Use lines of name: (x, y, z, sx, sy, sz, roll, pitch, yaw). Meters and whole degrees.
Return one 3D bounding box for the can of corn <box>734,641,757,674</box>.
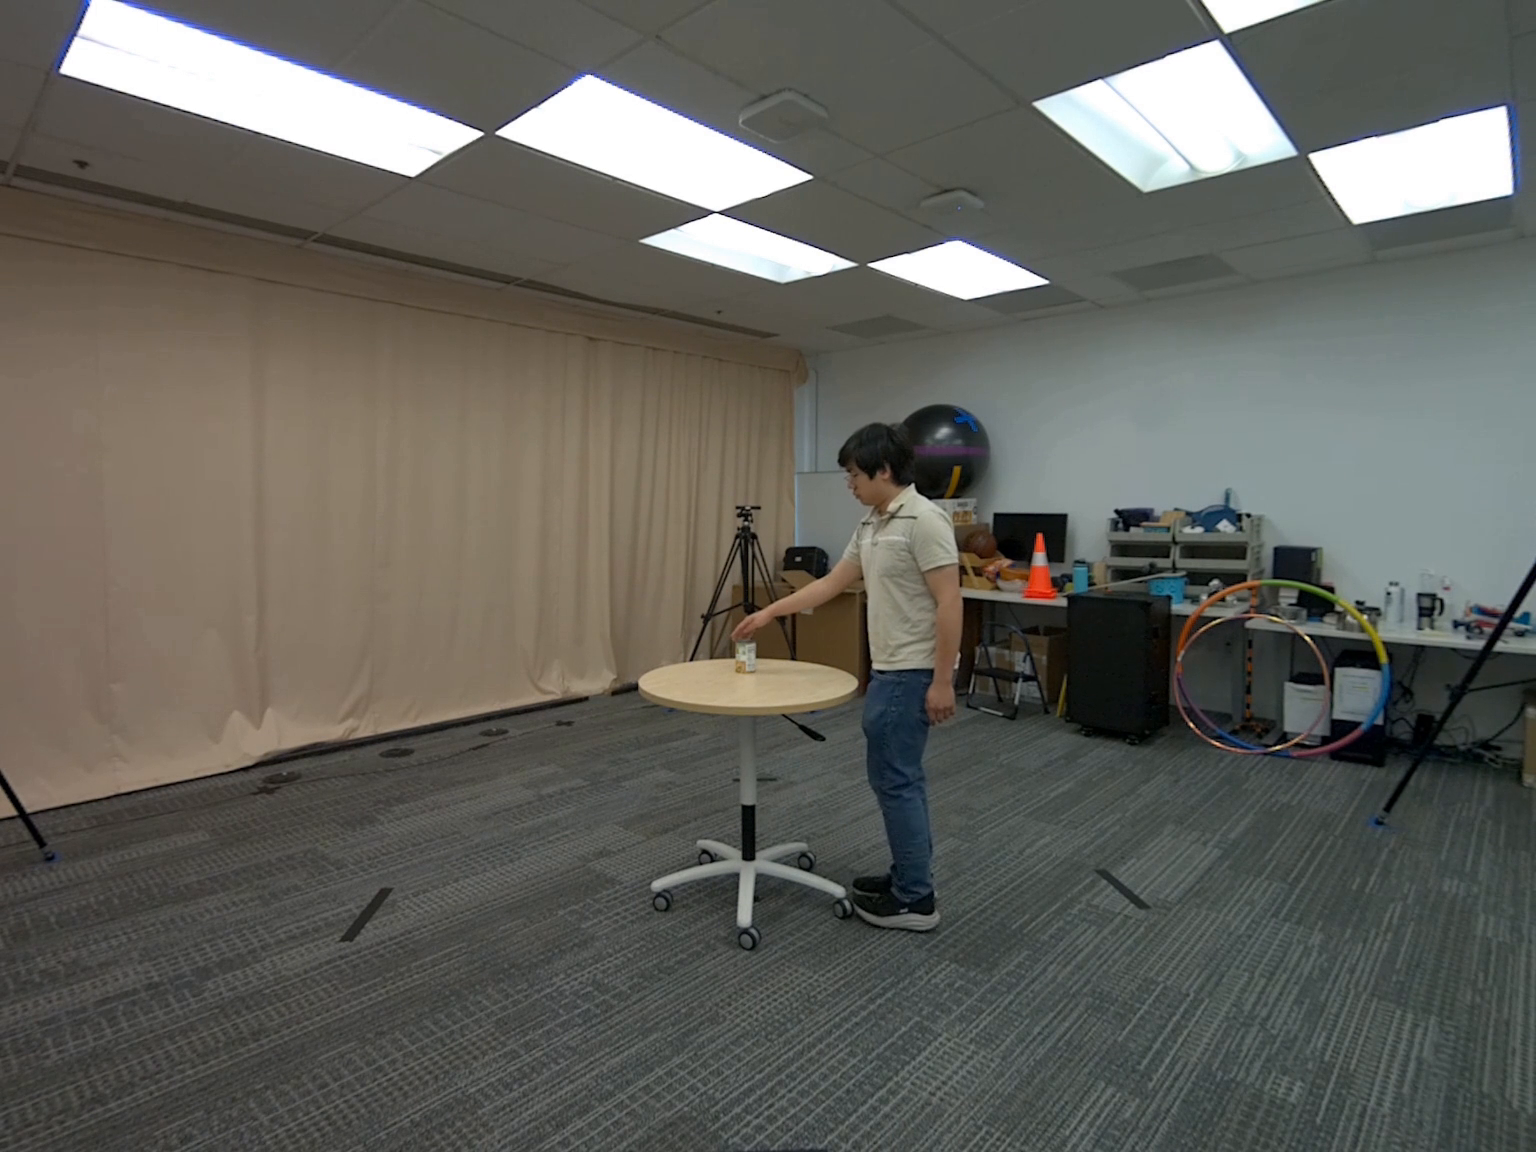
can of corn: (-0.081, 0.300, 3.085, 0.074, 0.111, 0.074, 1, 2, -2)
